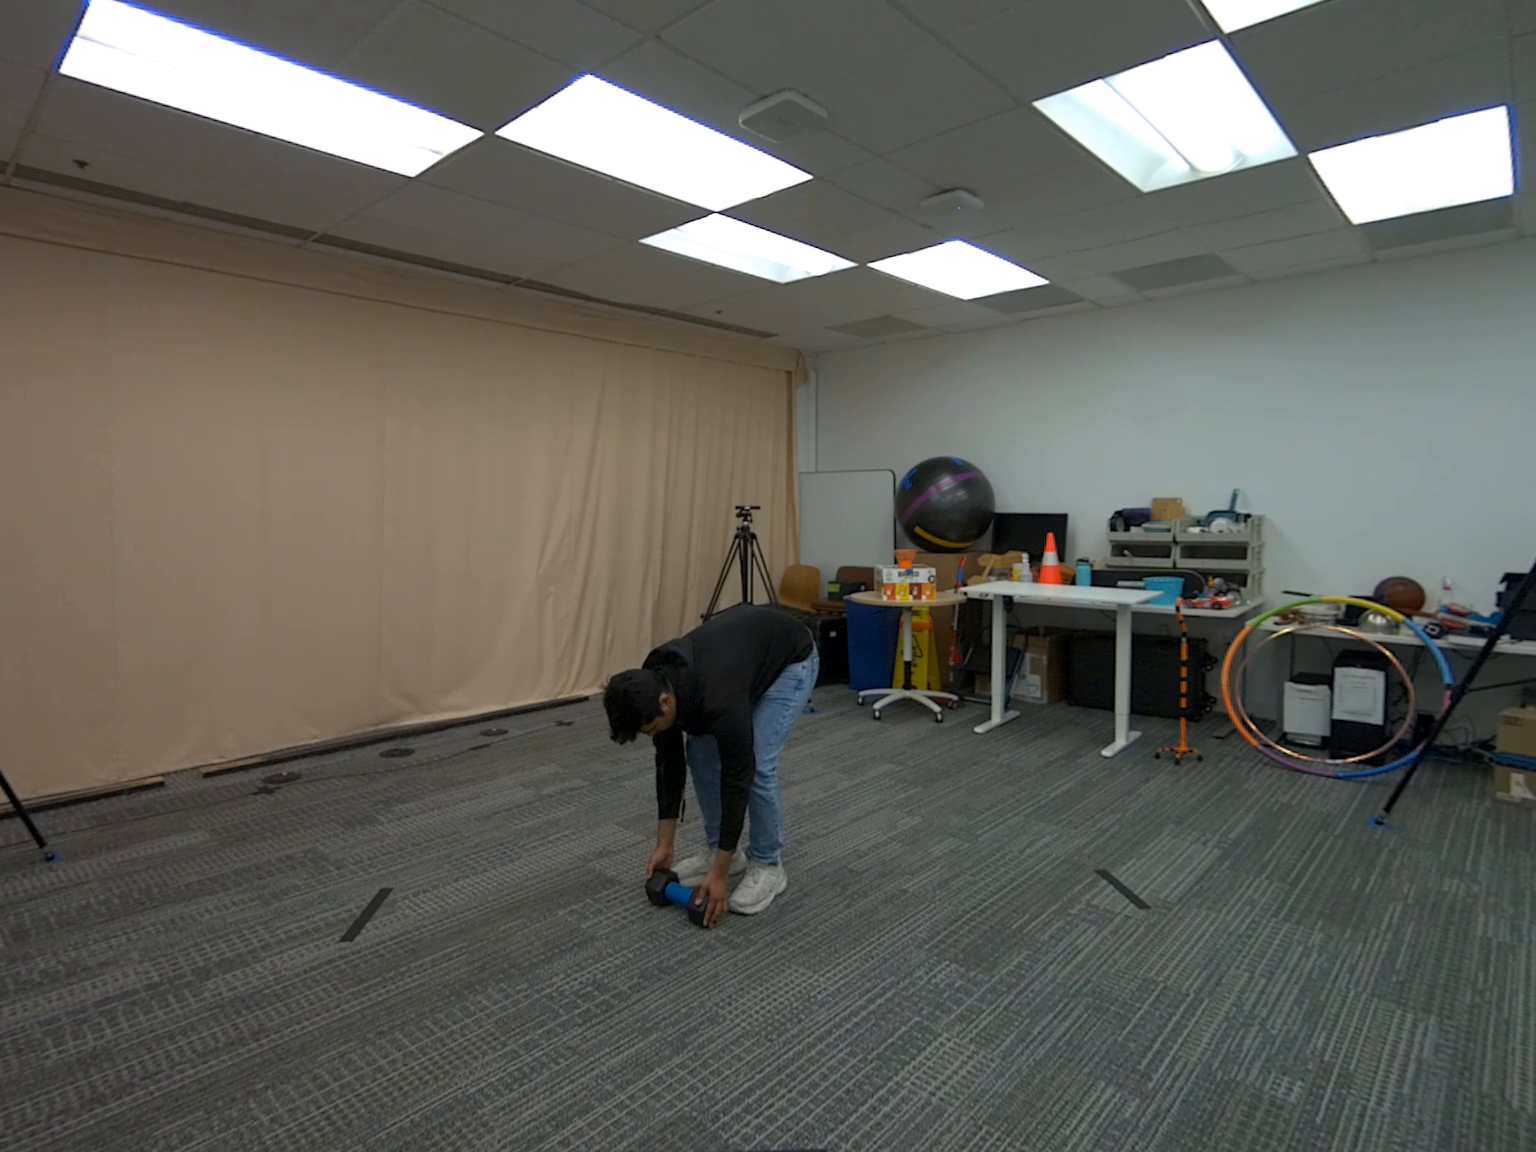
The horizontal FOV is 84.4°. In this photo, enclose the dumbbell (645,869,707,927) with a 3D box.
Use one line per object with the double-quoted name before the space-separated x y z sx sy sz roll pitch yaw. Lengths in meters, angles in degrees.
"dumbbell" -0.282 1.092 2.892 0.303 0.121 0.106 6 21 44
